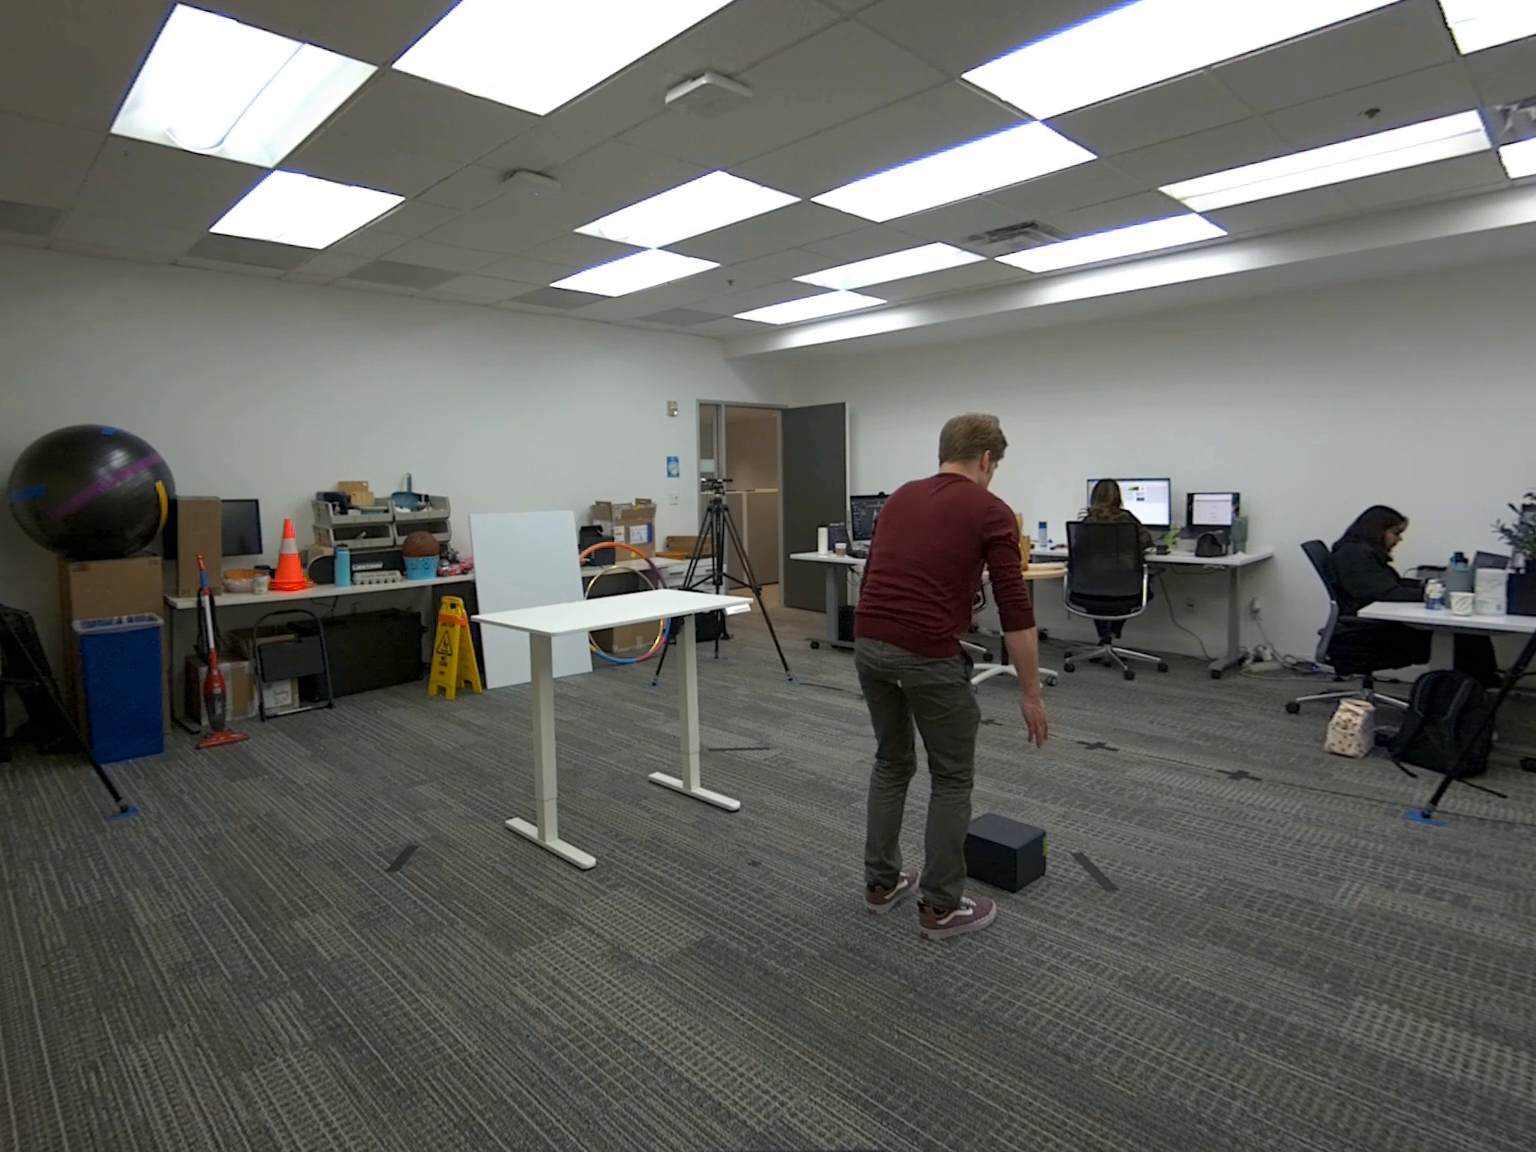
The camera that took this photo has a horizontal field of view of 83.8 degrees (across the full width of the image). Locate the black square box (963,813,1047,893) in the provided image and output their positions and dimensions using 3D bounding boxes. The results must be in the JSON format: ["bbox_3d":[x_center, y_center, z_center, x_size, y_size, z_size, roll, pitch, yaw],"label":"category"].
[{"bbox_3d":[0.822,0.961,2.992,0.211,0.155,0.235,-6,8,-44],"label":"black square box"}]
